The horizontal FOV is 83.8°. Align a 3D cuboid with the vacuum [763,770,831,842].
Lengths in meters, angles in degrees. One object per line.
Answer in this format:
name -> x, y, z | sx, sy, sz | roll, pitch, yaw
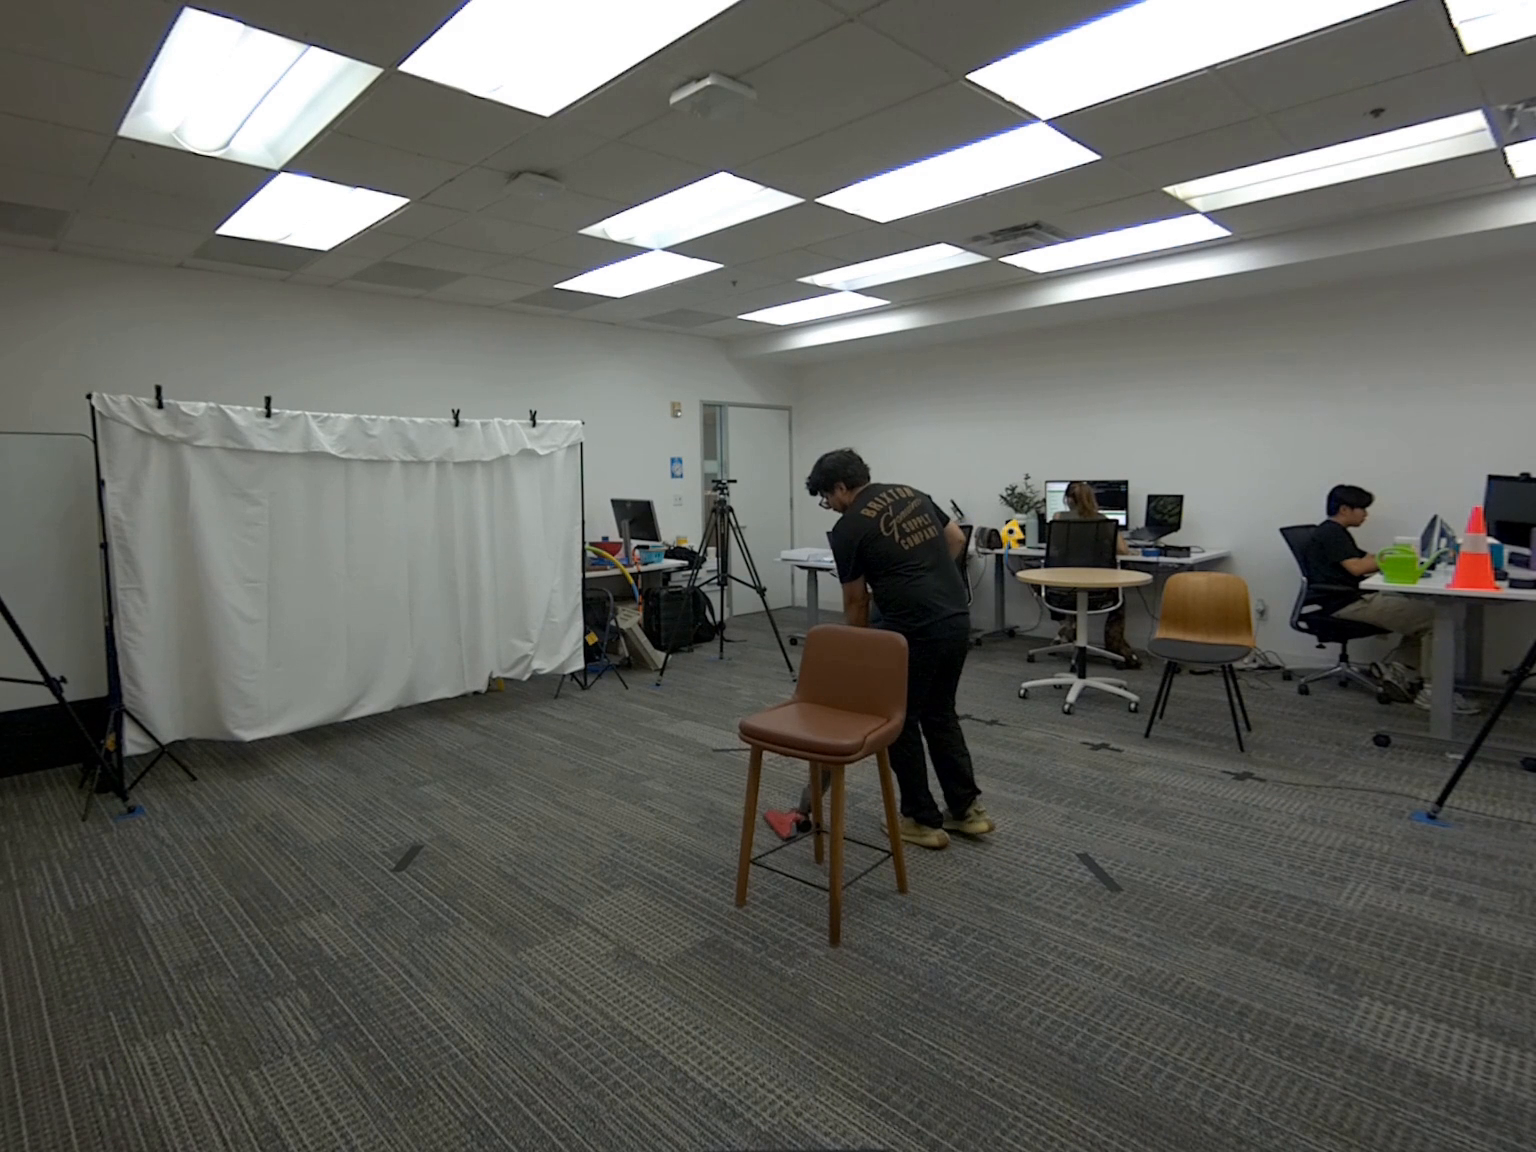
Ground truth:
vacuum -> 0.357, 0.562, 3.482 | 0.140, 1.051, 0.259 | 34, -7, -23
